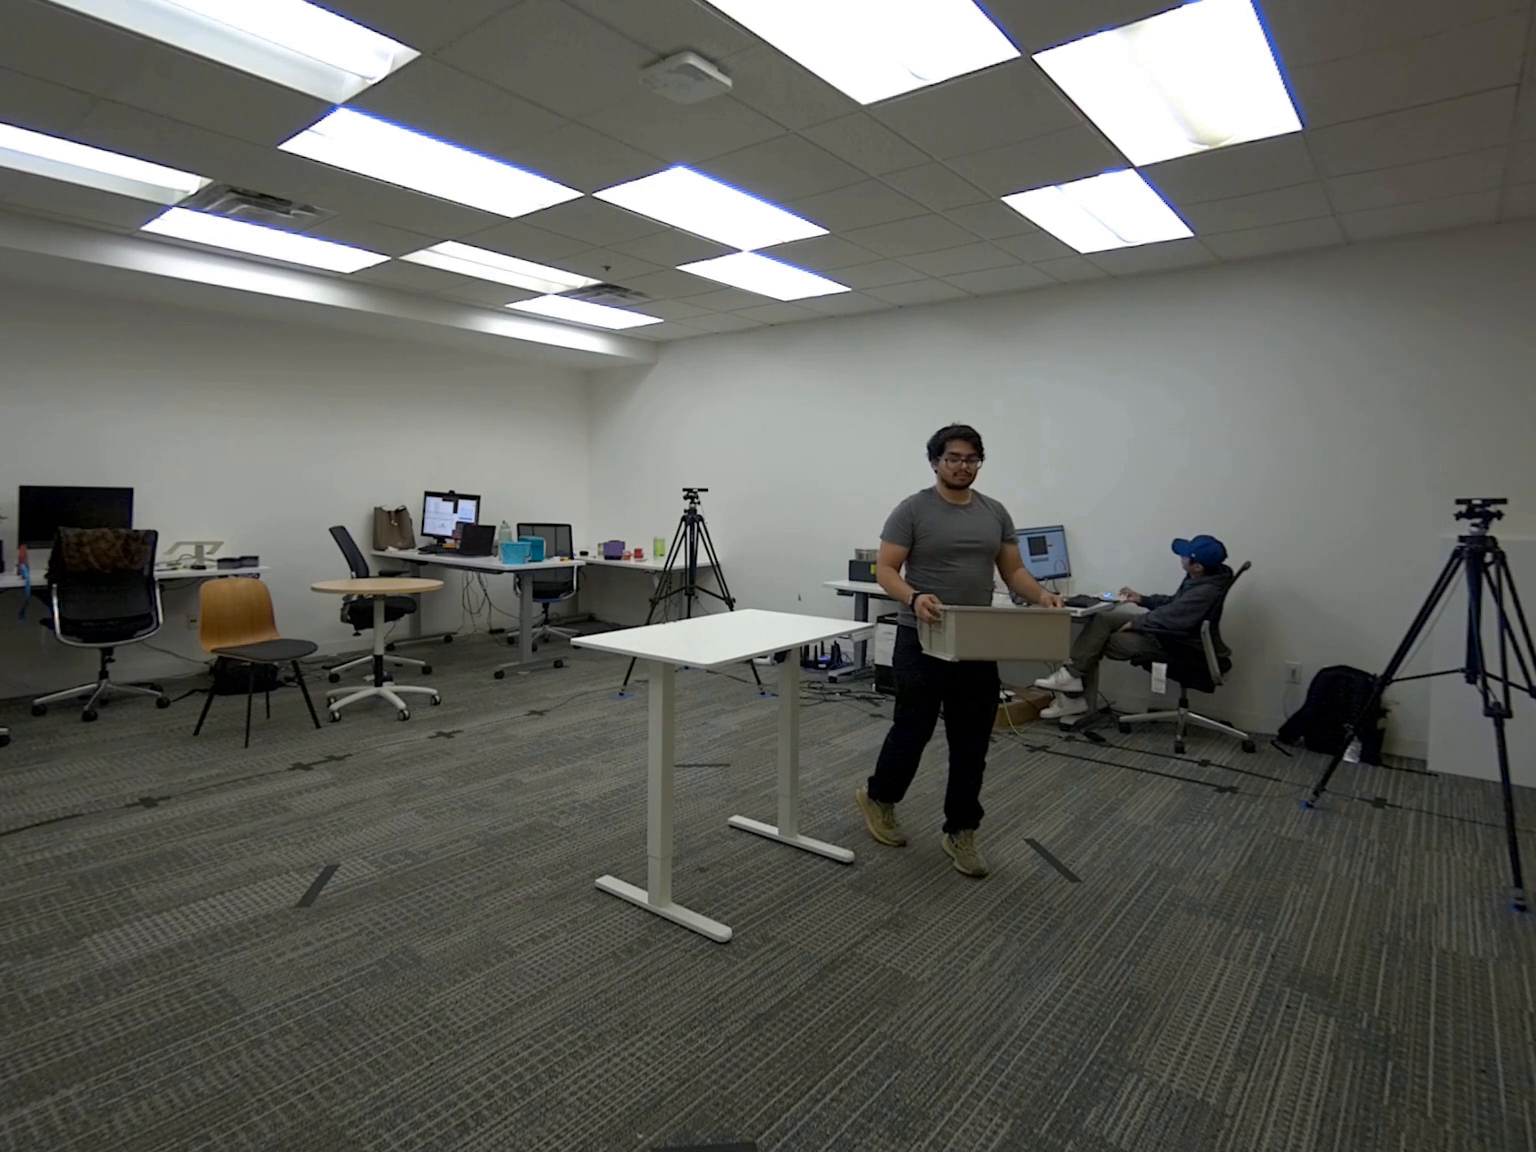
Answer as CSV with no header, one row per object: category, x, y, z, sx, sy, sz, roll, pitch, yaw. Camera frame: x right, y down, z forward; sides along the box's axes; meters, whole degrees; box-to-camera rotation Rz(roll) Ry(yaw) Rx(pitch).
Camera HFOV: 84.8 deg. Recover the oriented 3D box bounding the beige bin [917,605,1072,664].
beige bin,0.771,0.189,2.950,0.420,0.189,0.379,2,1,-5
